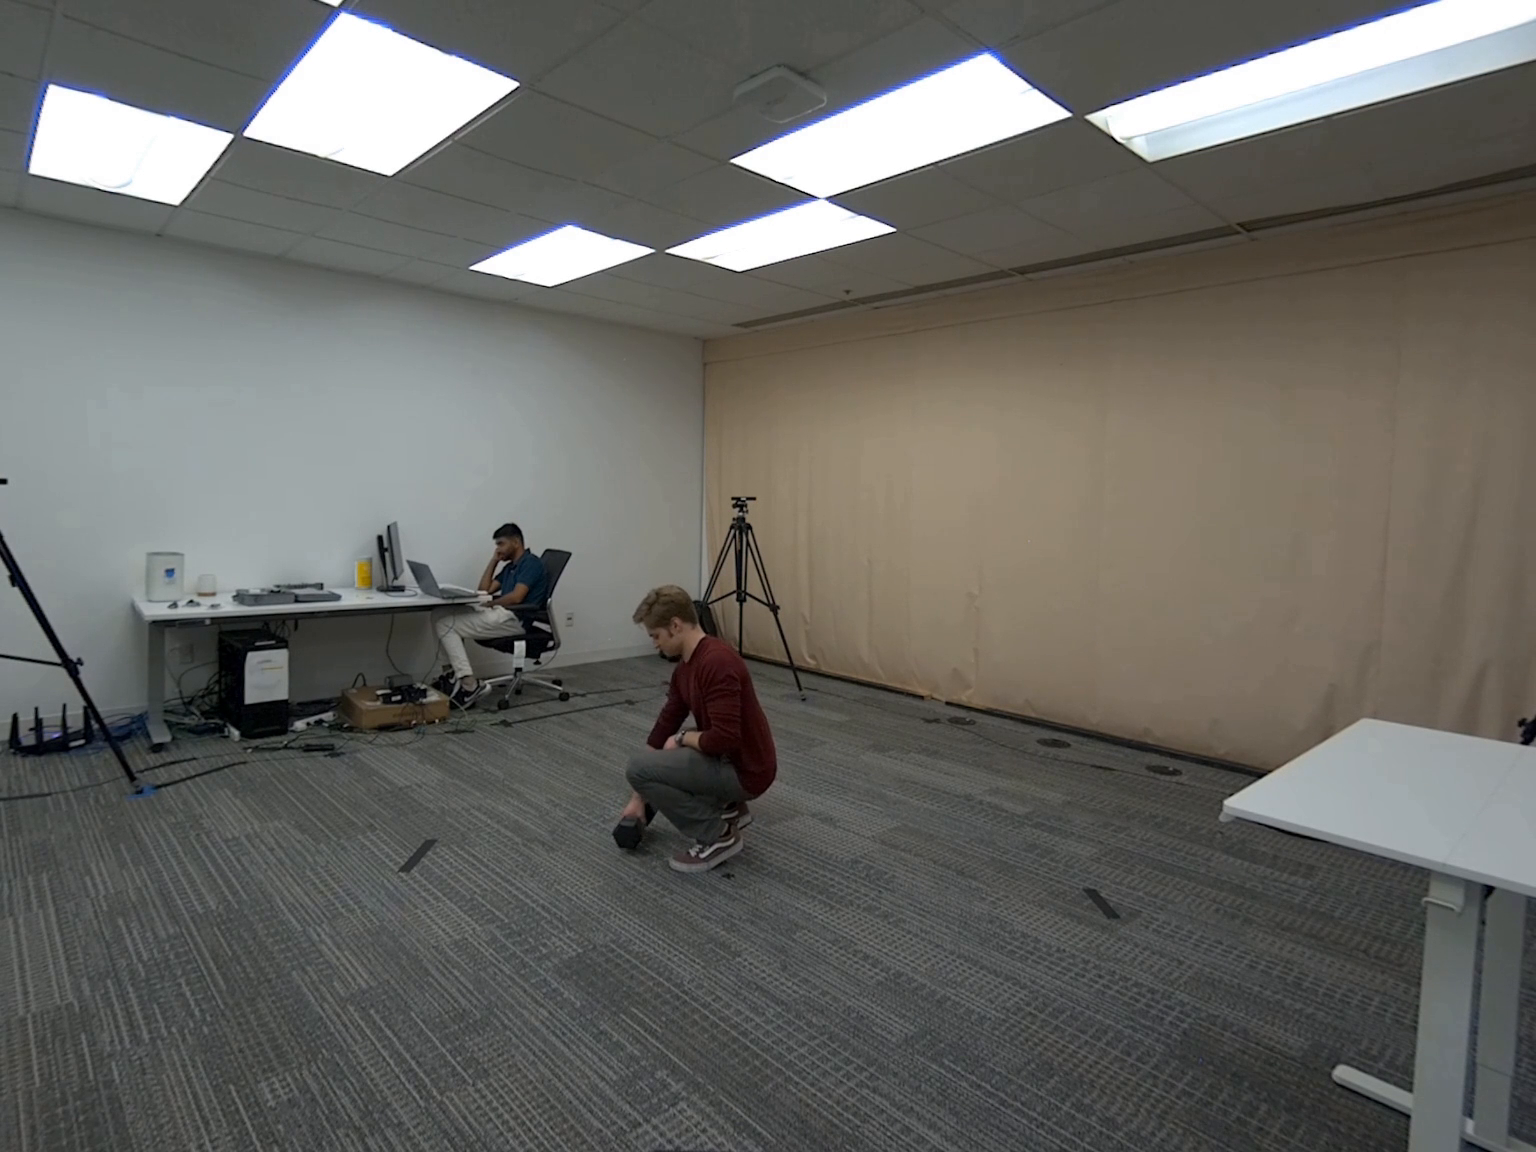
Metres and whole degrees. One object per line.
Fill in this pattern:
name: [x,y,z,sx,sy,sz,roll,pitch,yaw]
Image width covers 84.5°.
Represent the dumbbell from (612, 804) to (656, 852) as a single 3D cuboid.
dumbbell: [-0.536,0.965,3.392,0.109,0.123,0.293,35,9,1]
